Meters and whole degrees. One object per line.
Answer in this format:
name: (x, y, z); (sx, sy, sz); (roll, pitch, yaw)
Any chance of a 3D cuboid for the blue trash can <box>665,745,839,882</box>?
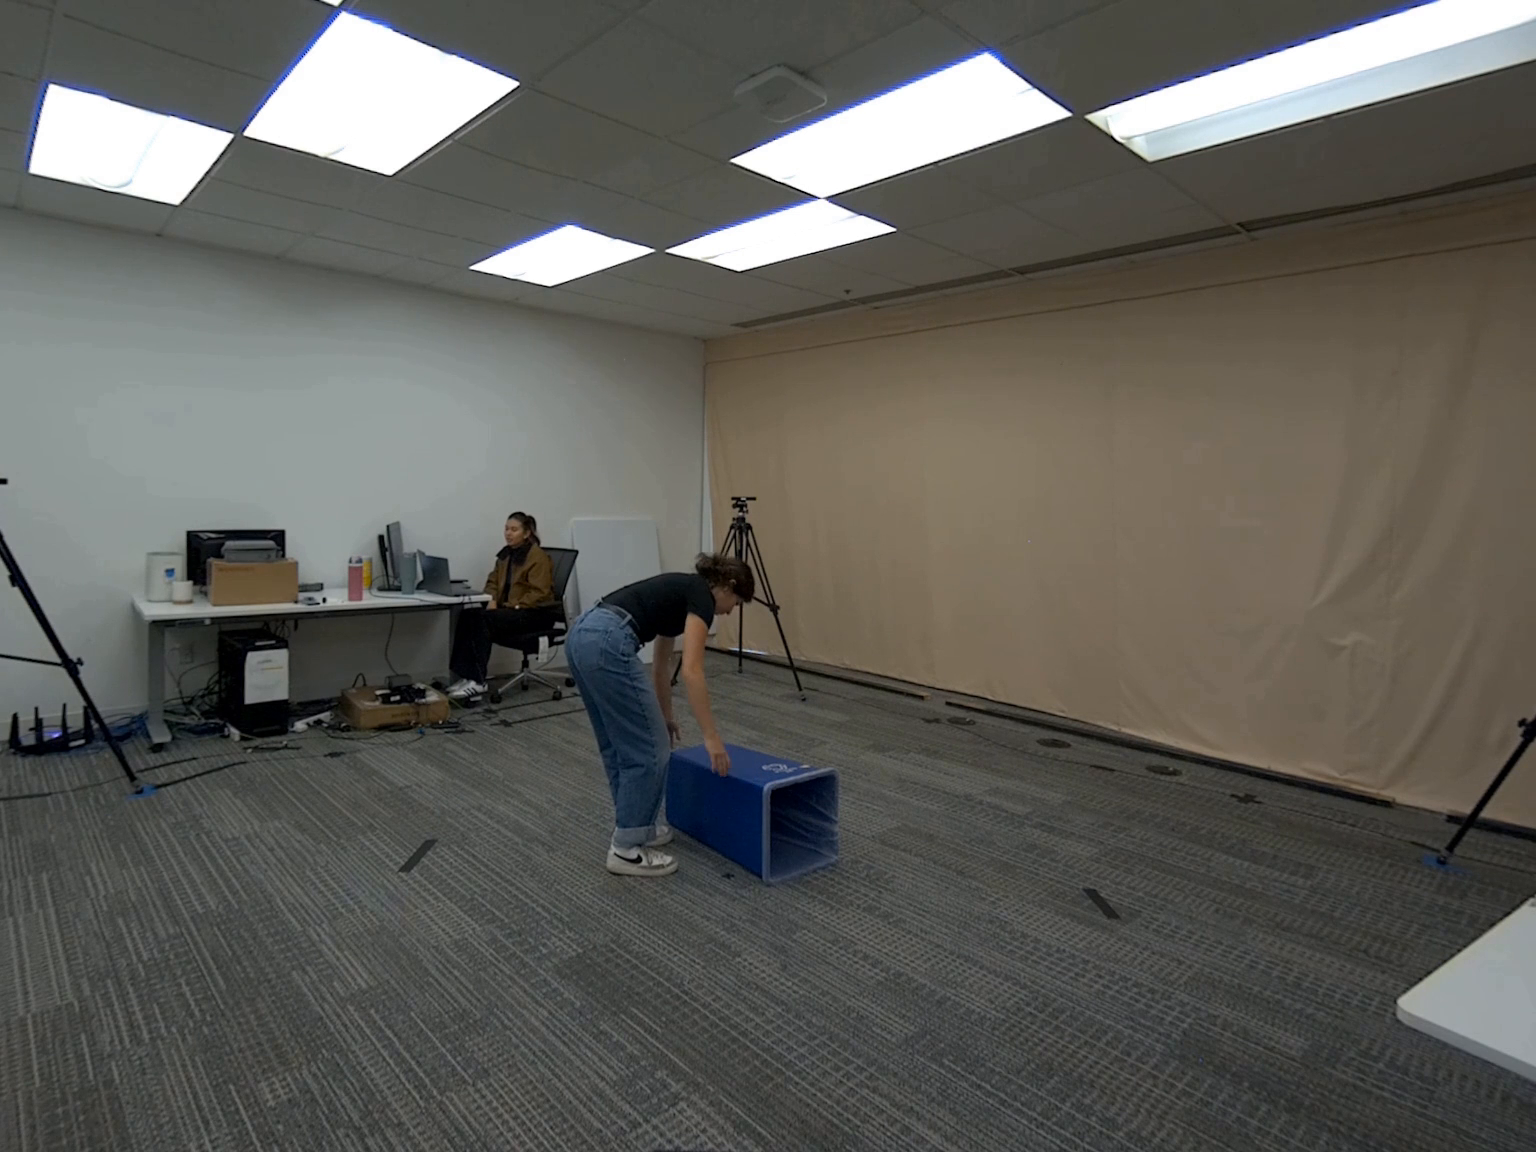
blue trash can: (-0.102, 0.918, 3.402); (0.369, 0.374, 0.730); (-2, 3, -38)
